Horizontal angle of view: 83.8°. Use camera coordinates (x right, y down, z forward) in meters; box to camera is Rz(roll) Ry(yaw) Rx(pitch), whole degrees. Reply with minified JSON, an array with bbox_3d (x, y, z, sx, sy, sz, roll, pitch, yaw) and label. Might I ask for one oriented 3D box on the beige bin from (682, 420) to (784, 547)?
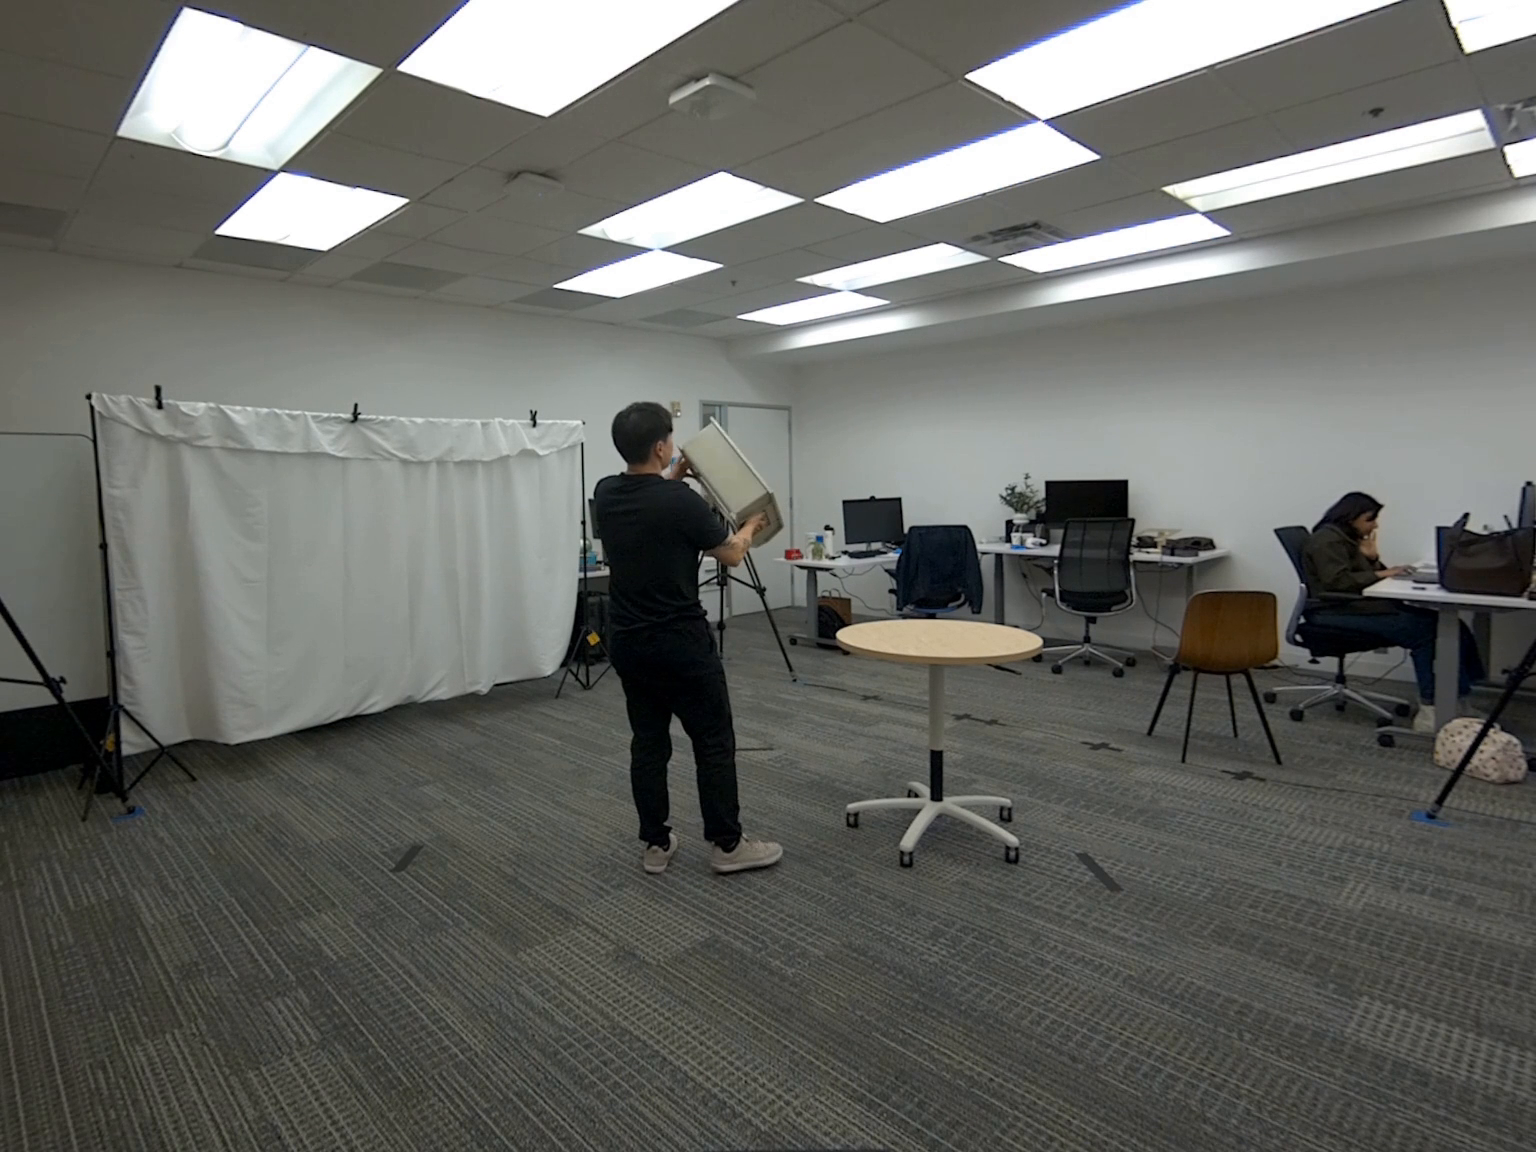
[{"bbox_3d":[-0.137,-0.357,3.441,0.189,0.434,0.367,-35,-22,-3],"label":"beige bin"}]
